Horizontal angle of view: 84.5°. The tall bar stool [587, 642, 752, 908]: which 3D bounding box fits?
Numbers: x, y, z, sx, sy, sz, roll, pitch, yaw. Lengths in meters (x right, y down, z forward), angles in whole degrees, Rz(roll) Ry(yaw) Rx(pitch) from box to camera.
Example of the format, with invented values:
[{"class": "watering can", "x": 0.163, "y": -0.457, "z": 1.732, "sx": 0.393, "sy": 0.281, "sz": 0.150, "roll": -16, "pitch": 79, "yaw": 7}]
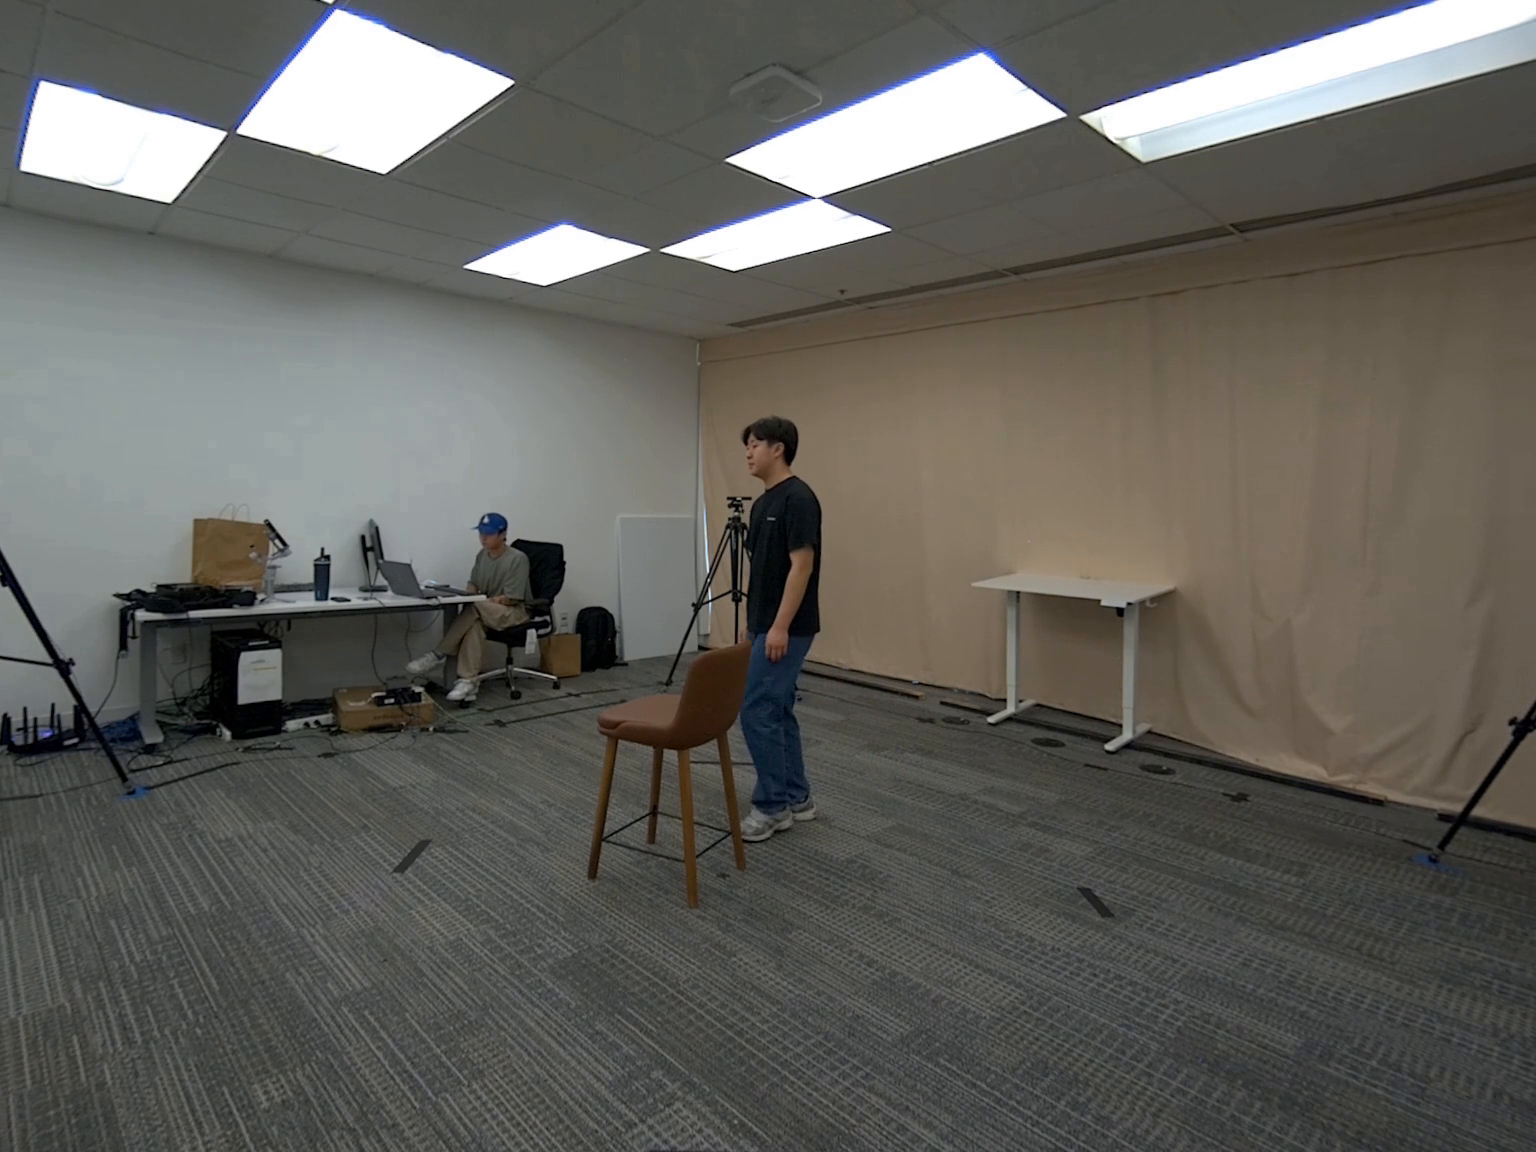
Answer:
[{"class": "tall bar stool", "x": -0.355, "y": 0.670, "z": 3.088, "sx": 0.478, "sy": 0.887, "sz": 0.448, "roll": 6, "pitch": 5, "yaw": 29}]
